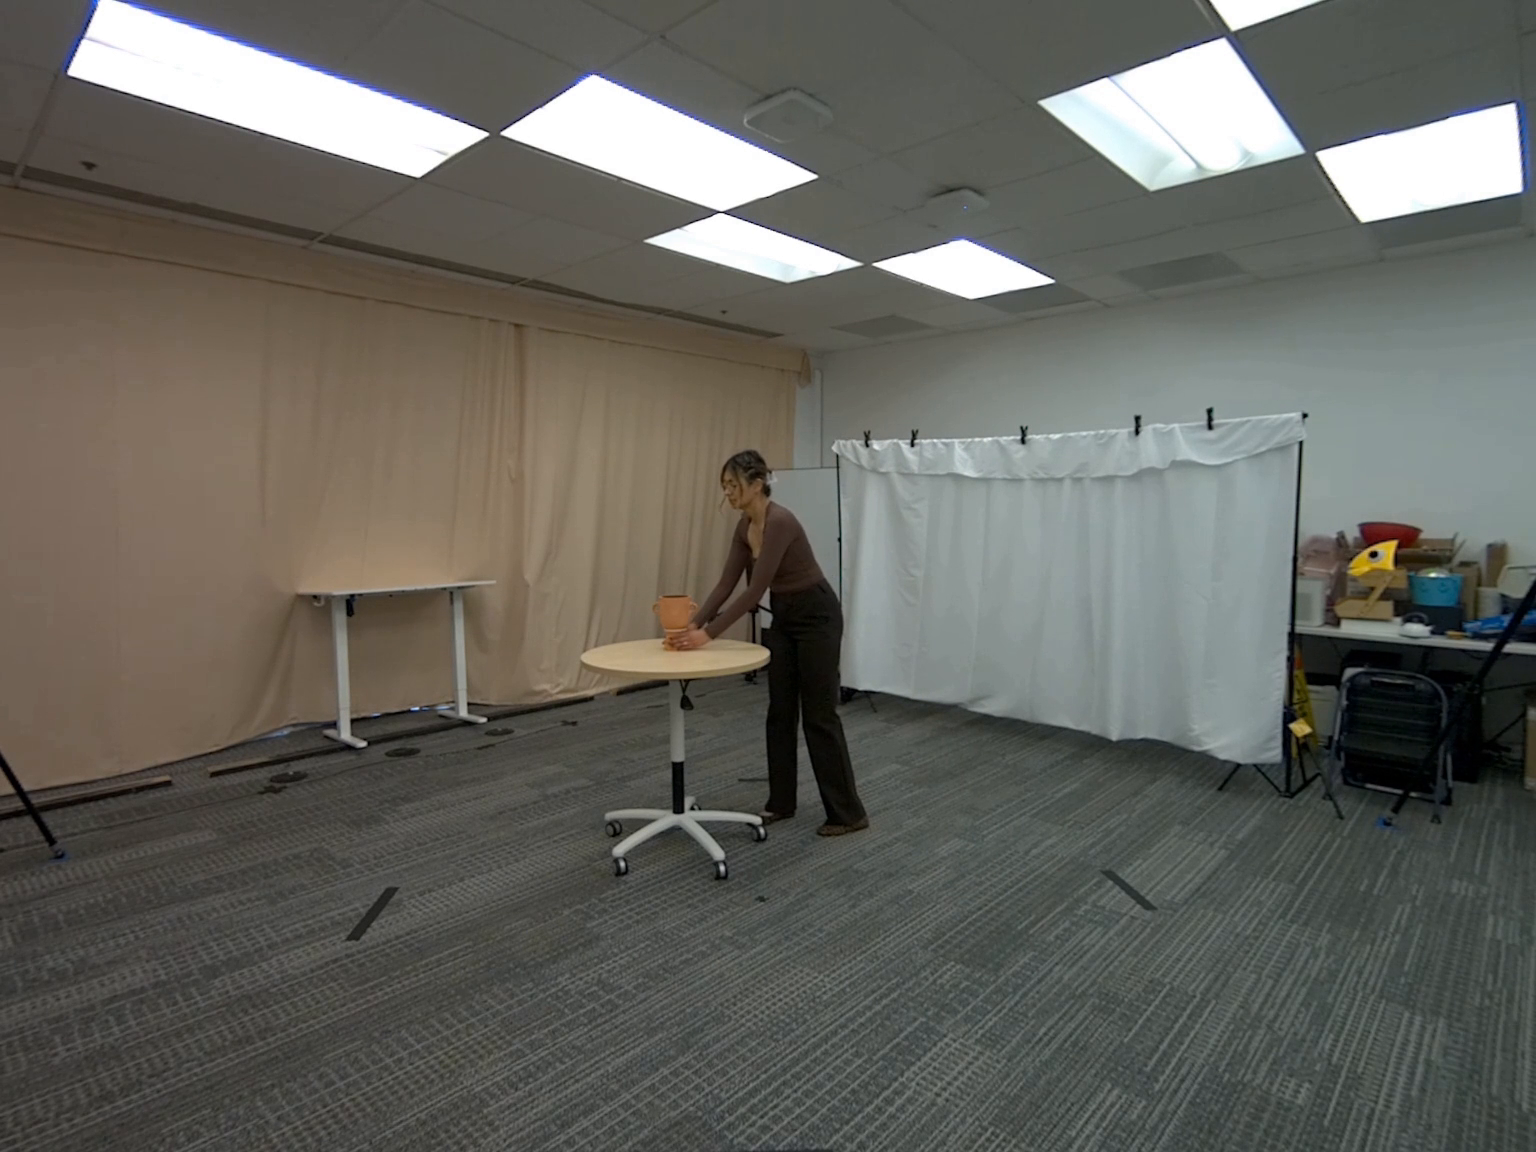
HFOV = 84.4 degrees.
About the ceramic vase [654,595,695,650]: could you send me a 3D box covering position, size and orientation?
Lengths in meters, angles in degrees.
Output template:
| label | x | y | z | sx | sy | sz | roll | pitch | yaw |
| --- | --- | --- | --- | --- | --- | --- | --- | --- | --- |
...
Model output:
| label | x | y | z | sx | sy | sz | roll | pitch | yaw |
| --- | --- | --- | --- | --- | --- | --- | --- | --- | --- |
| ceramic vase | -0.388 | 0.195 | 3.513 | 0.130 | 0.219 | 0.164 | -4 | 5 | -41 |
